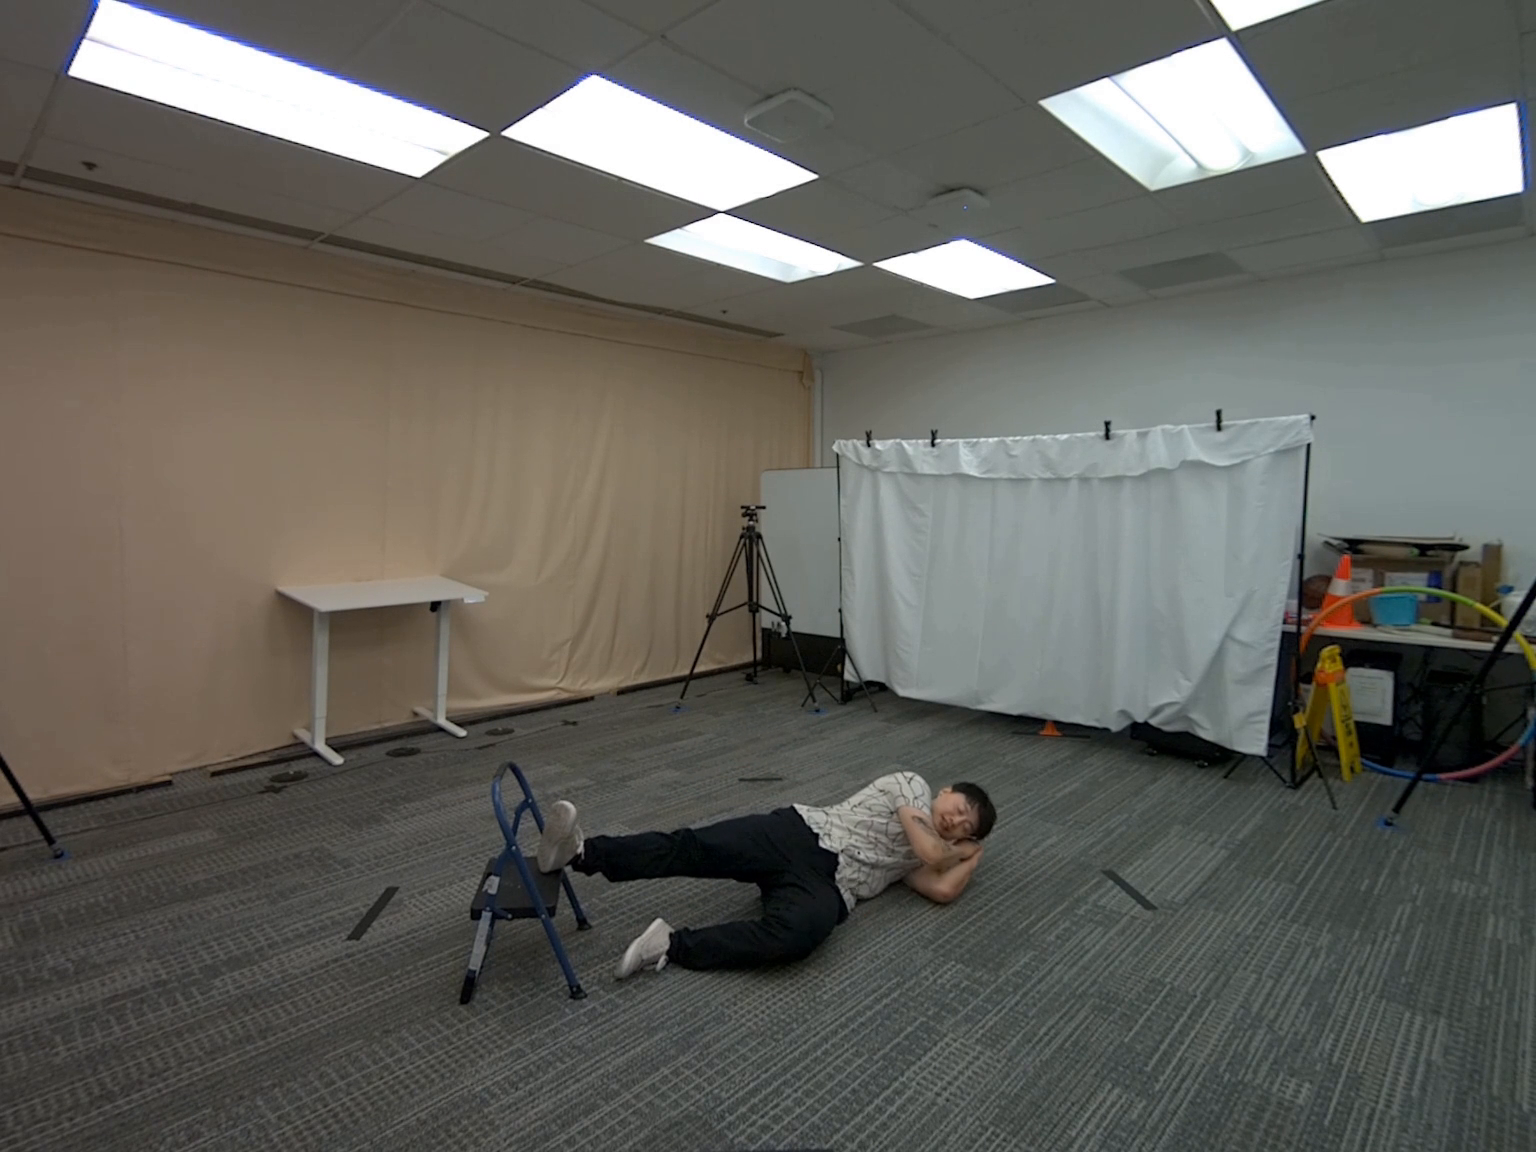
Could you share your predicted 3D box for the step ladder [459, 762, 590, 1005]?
[{"bbox_3d":[-0.733,0.886,2.555,0.346,0.605,0.435,-1,3,-9],"label":"step ladder"}]
